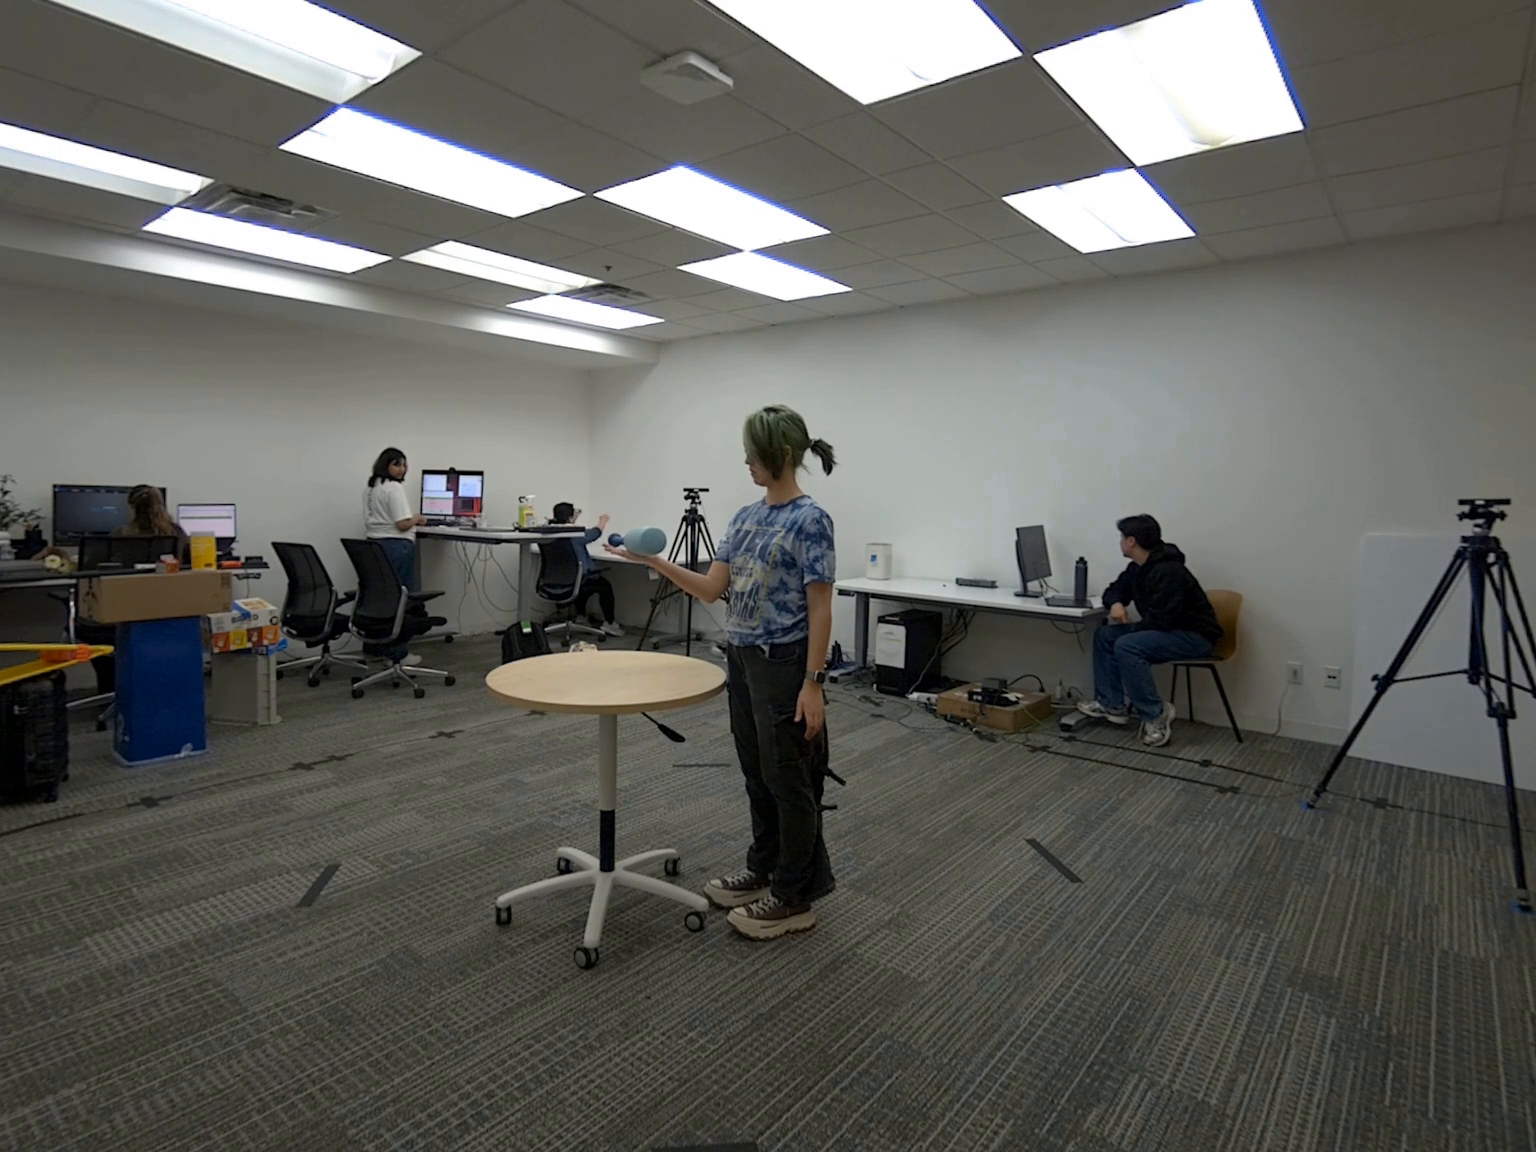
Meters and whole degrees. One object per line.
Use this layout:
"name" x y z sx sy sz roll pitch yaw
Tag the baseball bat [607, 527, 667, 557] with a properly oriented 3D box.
"baseball bat" -0.452 -0.112 2.732 0.087 0.089 0.554 -1 2 -21
